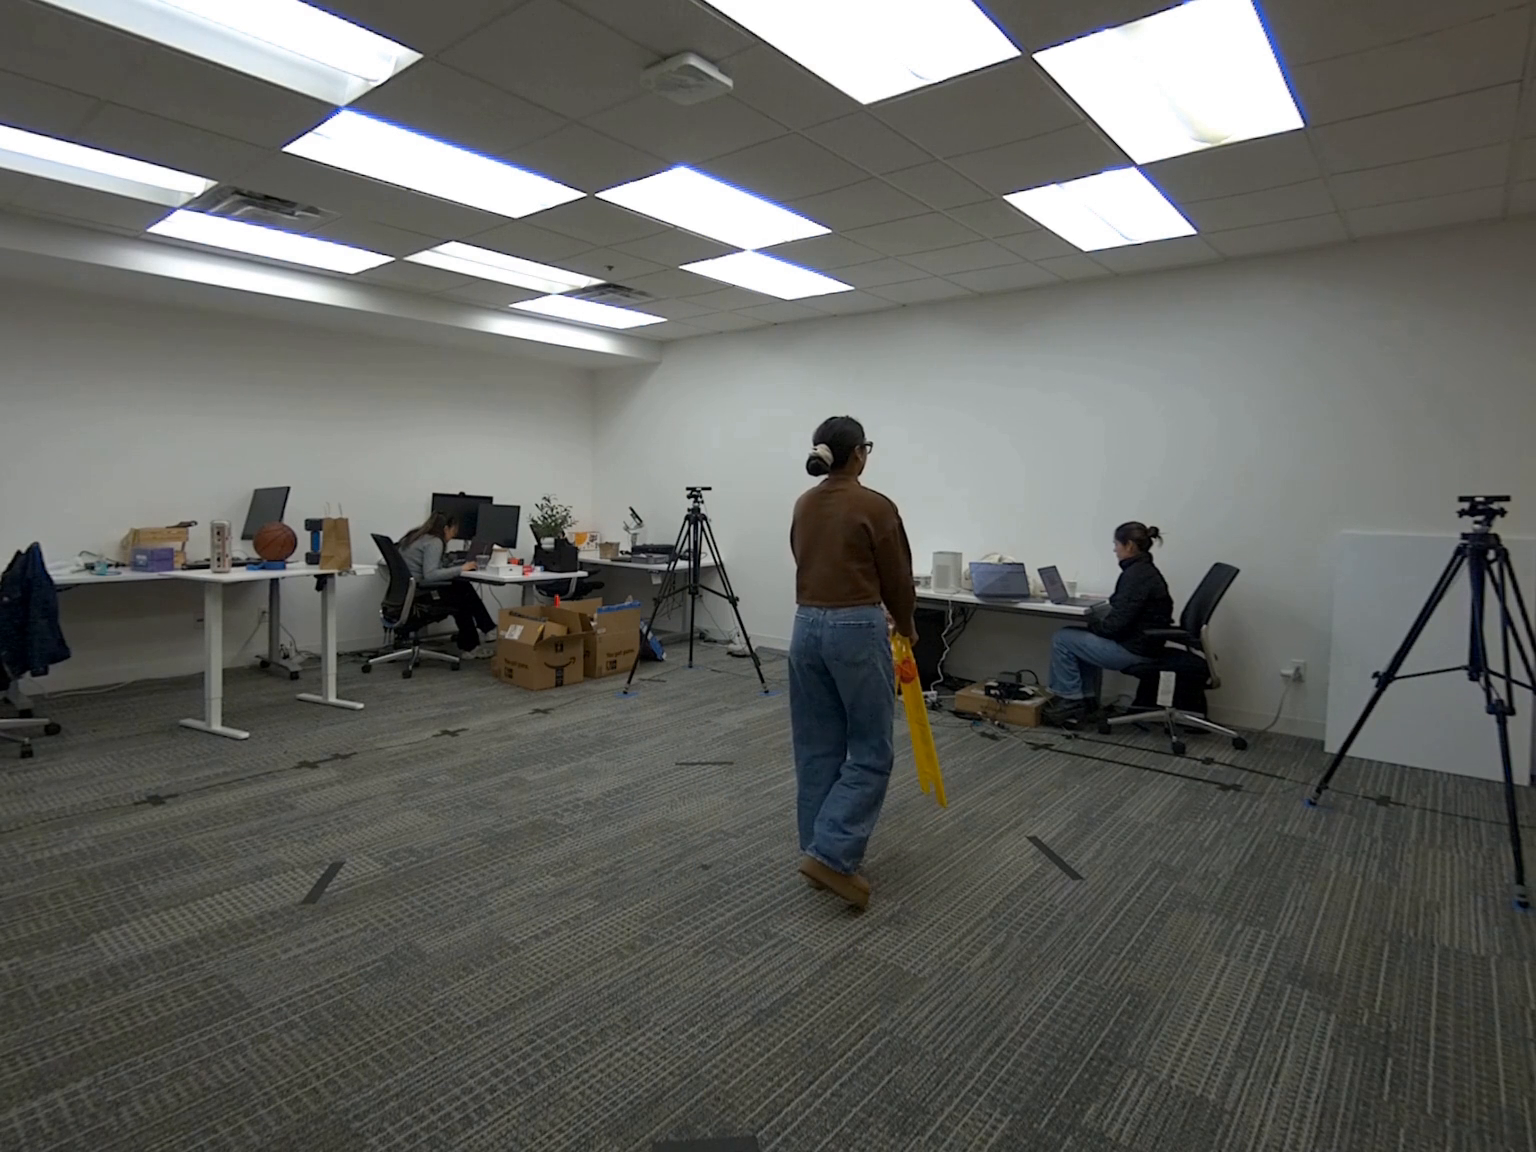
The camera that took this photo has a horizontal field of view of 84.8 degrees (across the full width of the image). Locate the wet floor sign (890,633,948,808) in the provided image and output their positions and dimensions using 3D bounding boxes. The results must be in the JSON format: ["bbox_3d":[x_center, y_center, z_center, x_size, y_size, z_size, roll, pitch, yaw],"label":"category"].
[{"bbox_3d":[0.490,0.521,3.252,0.288,0.648,0.283,-2,-3,-7],"label":"wet floor sign"}]
